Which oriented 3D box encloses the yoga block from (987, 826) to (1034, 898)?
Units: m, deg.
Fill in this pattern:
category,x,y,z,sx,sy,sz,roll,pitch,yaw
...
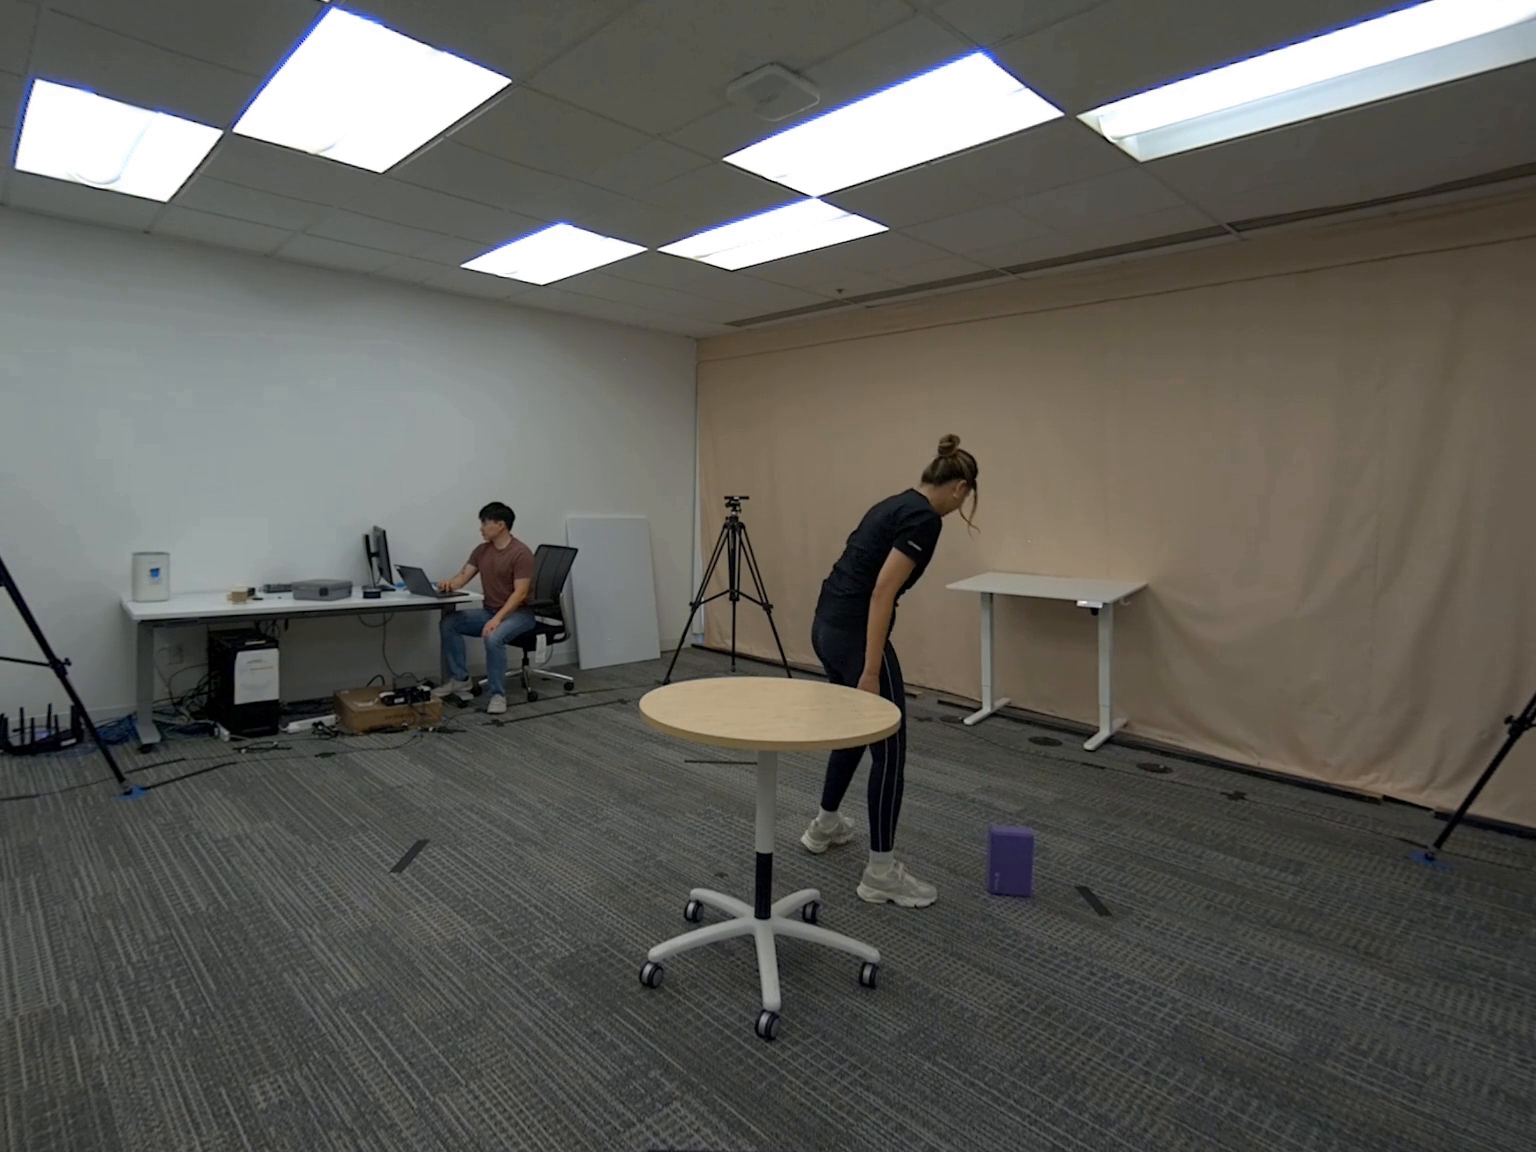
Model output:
category,x,y,z,sx,sy,sz,roll,pitch,yaw
yoga block,0.862,1.022,3.024,0.150,0.229,0.076,4,1,7
